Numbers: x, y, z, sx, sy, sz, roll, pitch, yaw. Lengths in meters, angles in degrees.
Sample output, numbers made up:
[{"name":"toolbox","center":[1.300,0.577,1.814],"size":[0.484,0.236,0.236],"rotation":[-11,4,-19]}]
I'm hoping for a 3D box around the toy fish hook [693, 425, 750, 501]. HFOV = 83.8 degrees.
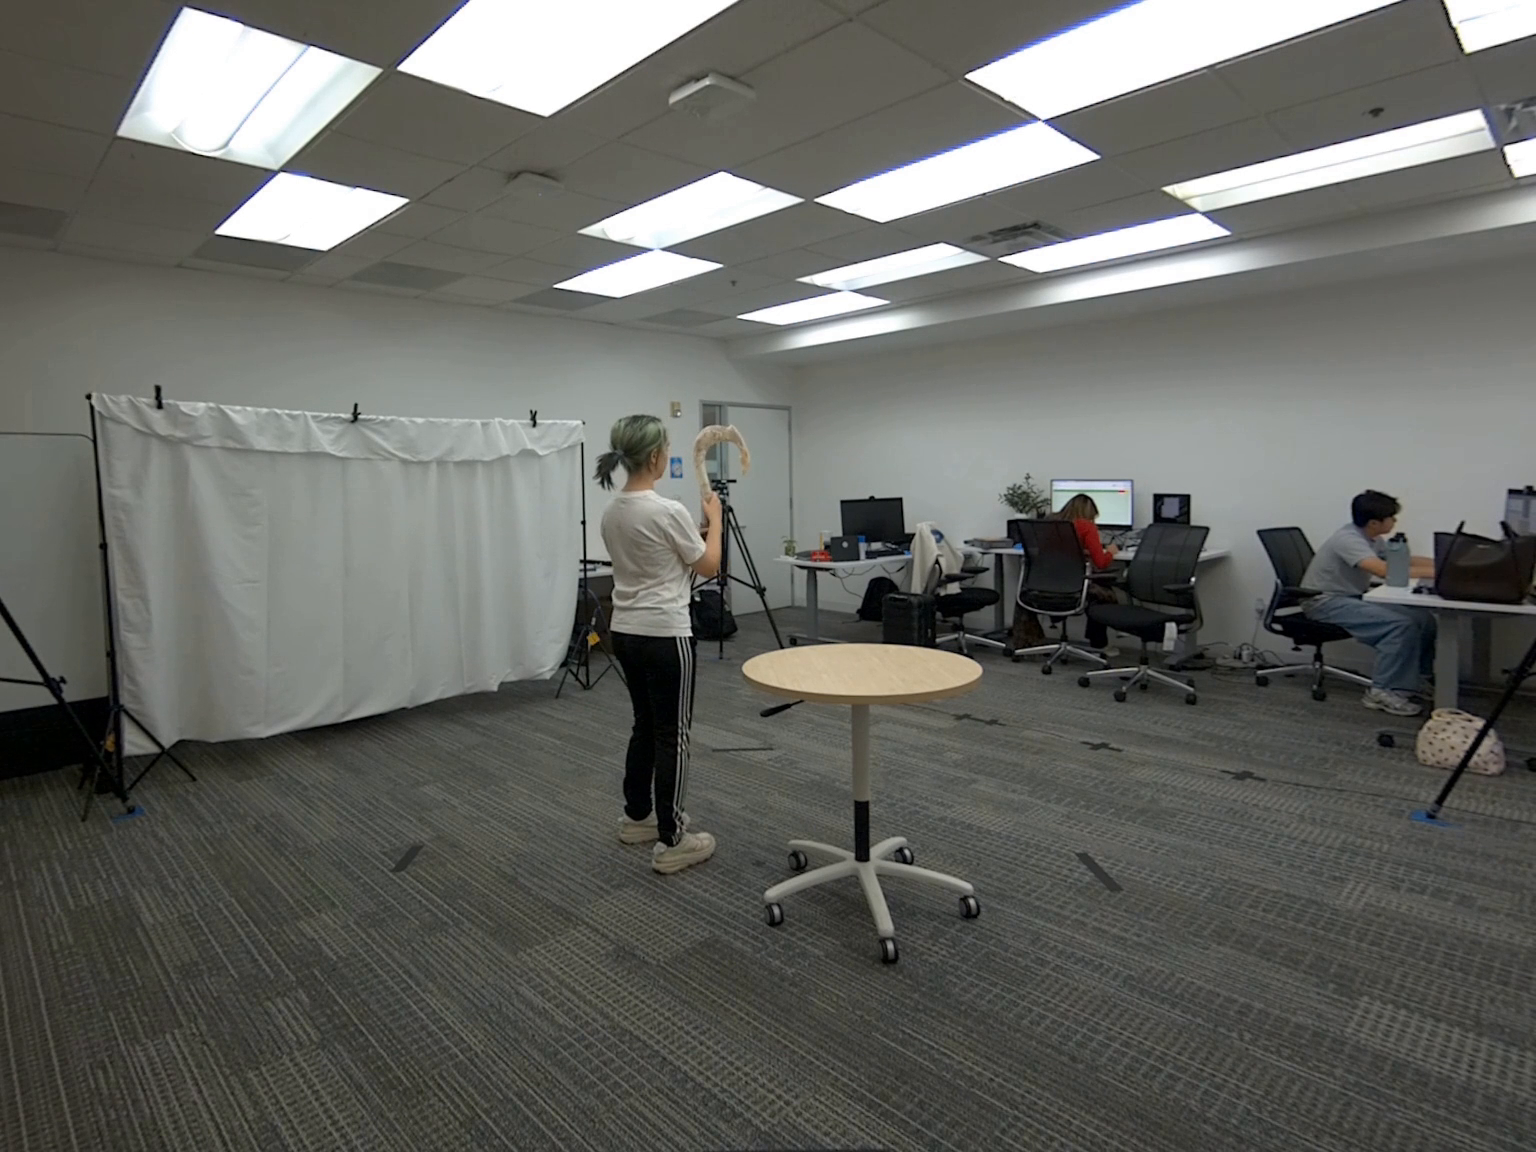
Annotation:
[{"name":"toy fish hook","center":[-0.190,-0.340,3.359],"size":[0.224,0.505,0.048],"rotation":[1,3,0]}]
